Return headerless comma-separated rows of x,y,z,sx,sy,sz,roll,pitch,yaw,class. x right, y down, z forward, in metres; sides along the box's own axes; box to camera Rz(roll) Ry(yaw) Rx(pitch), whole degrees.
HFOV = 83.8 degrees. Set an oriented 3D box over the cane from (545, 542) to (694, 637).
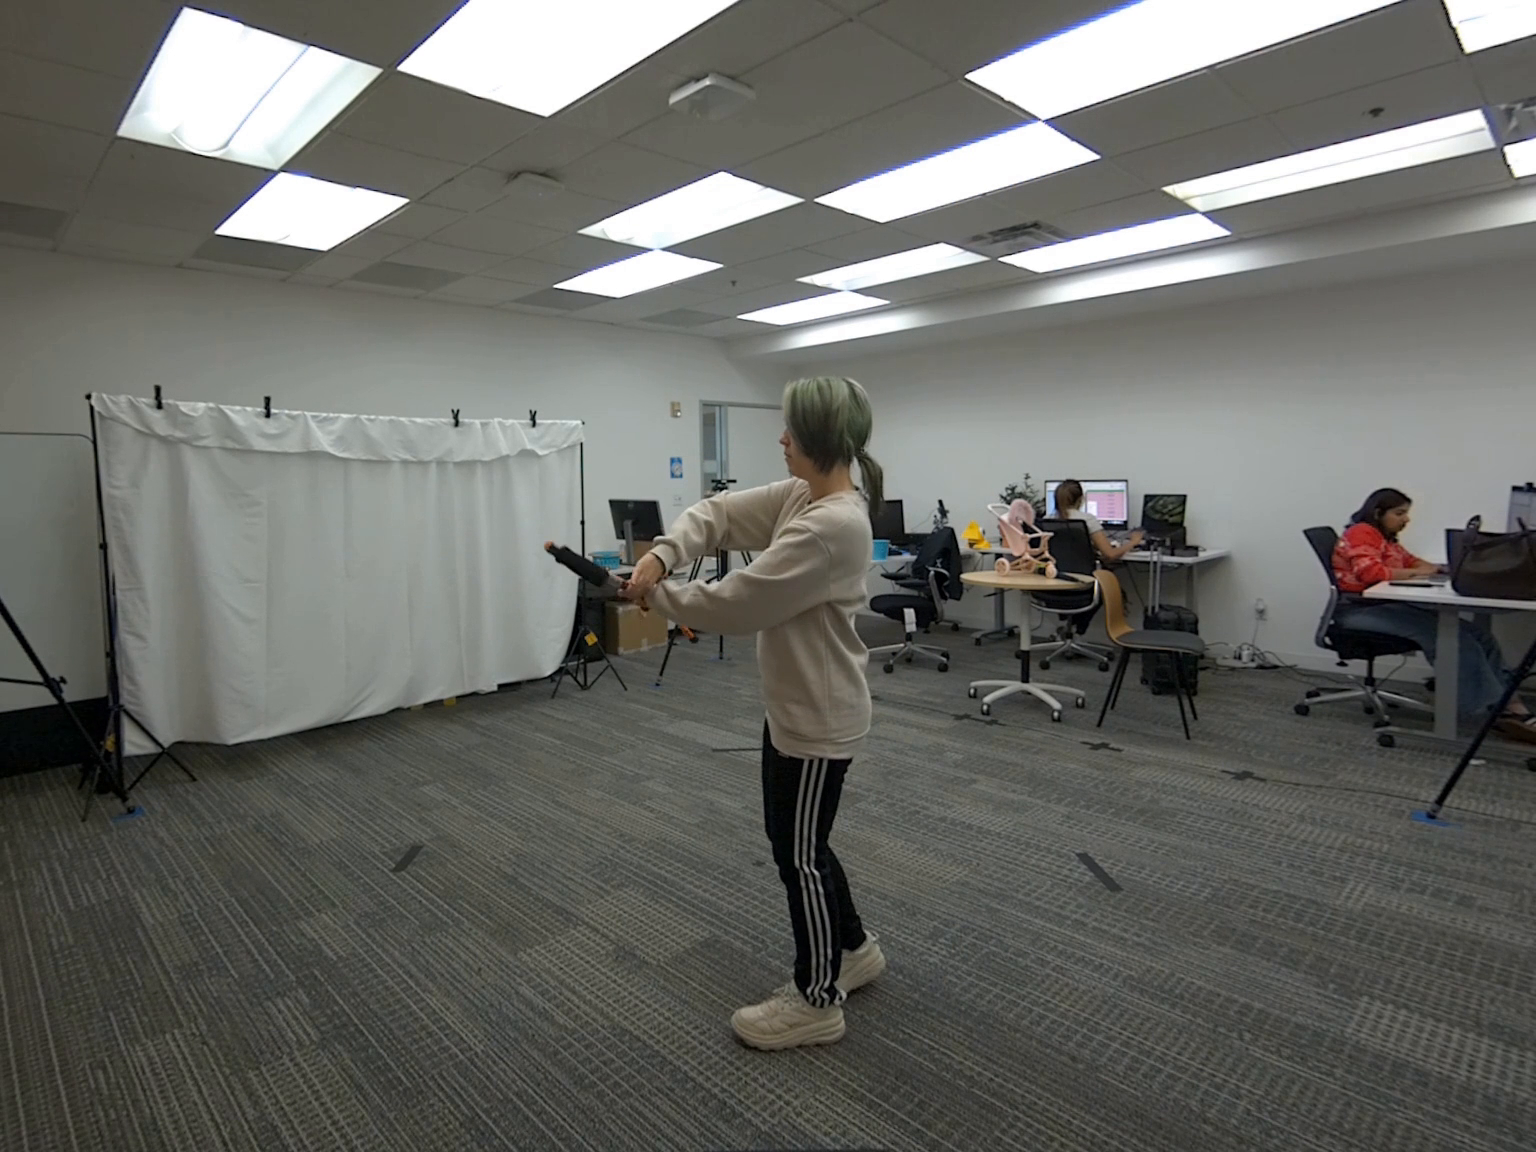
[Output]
-0.313,0.024,2.088,0.210,0.152,0.891,32,-3,11,cane
